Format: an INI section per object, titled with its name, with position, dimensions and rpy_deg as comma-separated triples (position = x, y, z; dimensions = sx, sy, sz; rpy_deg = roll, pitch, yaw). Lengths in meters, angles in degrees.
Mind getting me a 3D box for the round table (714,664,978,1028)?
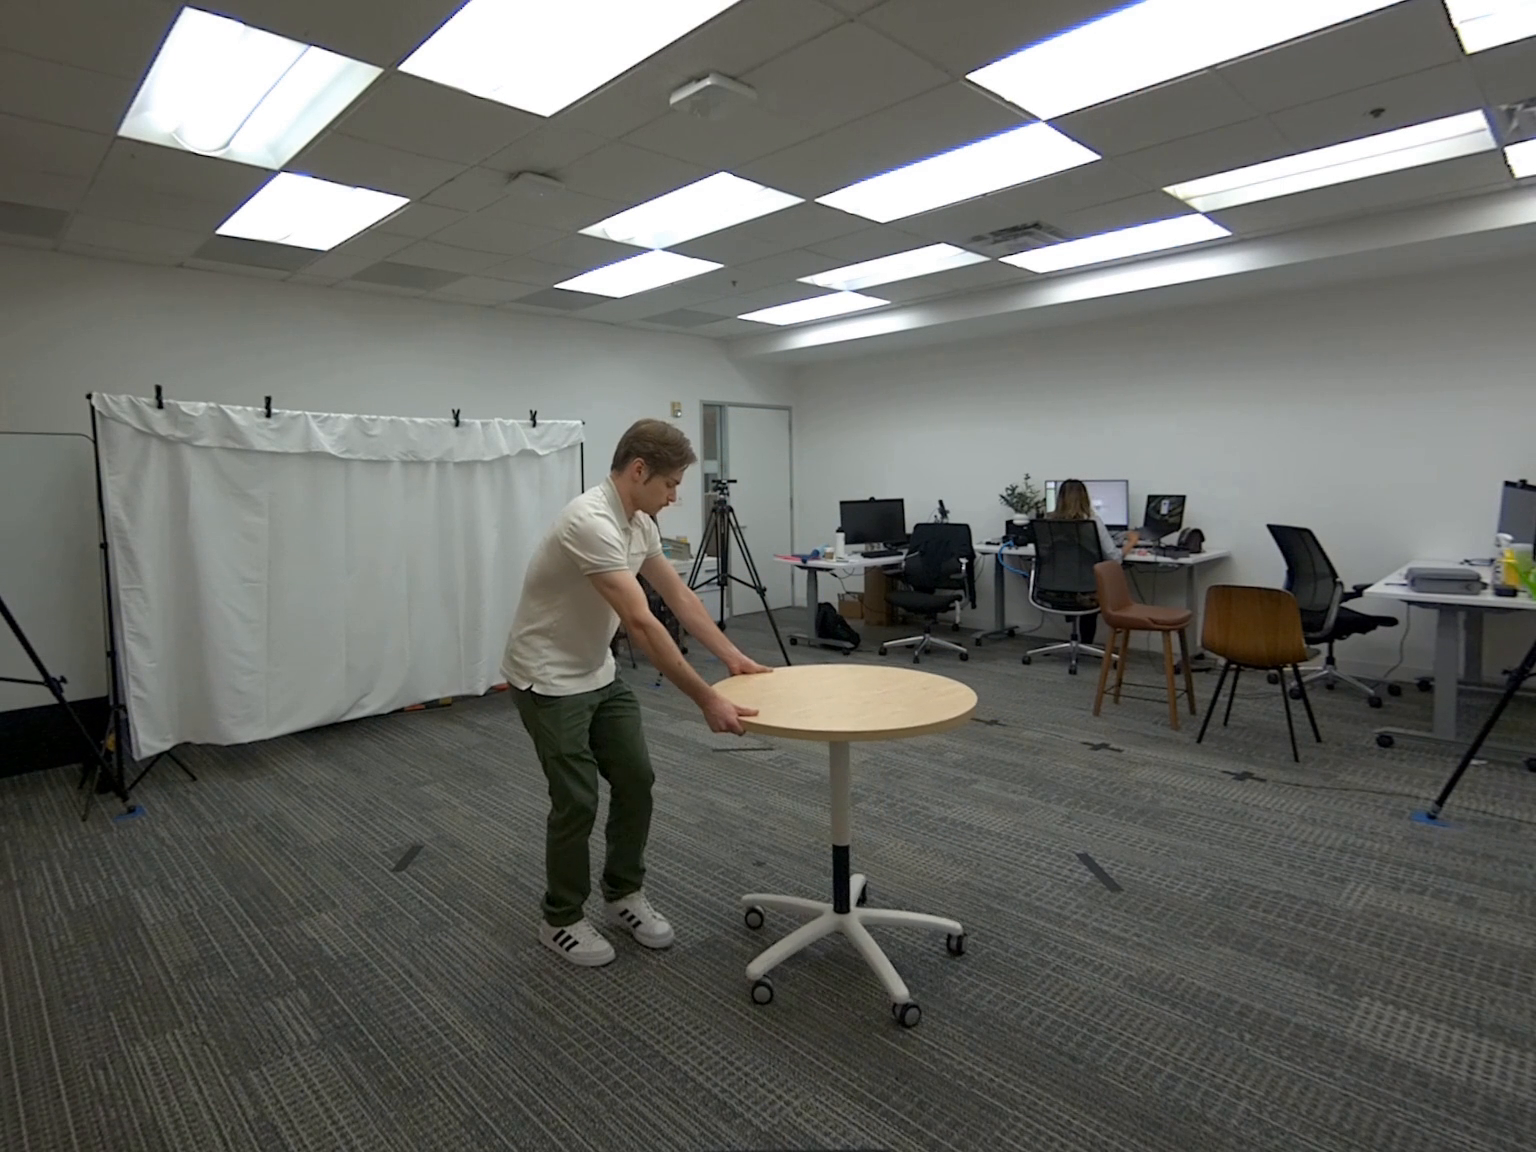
[round table]
position = 0.207, 0.720, 2.474
dimensions = 0.784, 0.783, 0.789
rpy_deg = -1, 5, -2
